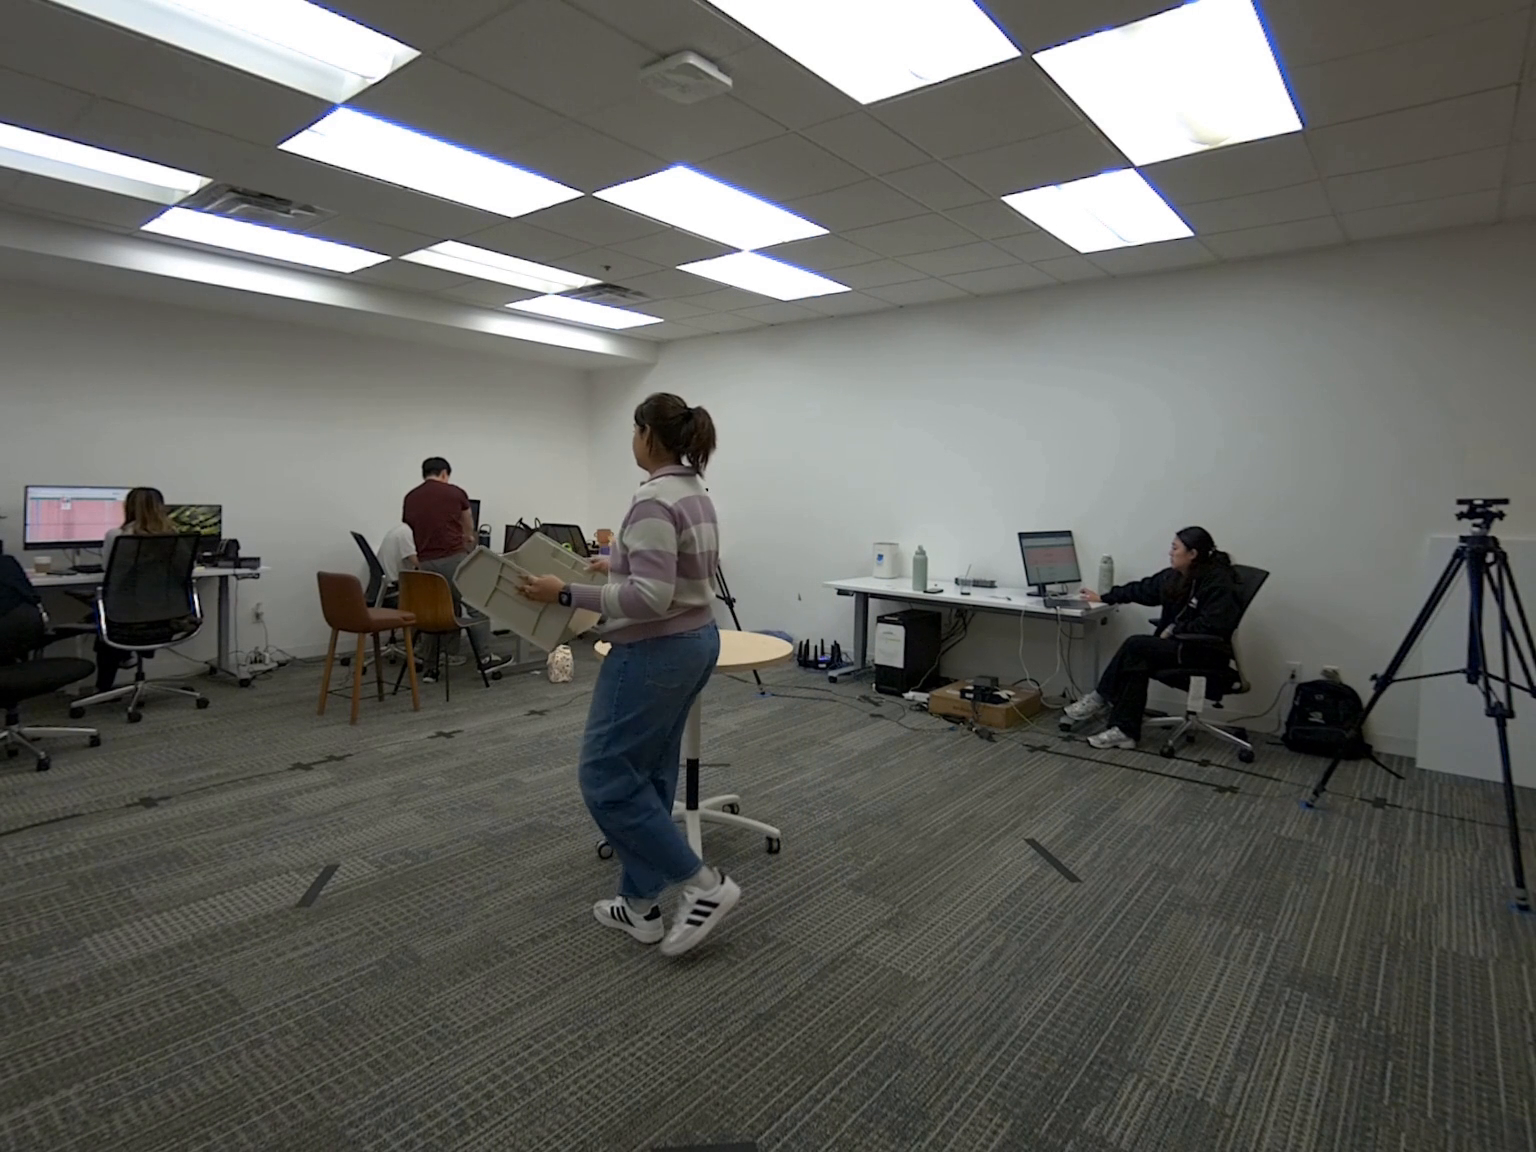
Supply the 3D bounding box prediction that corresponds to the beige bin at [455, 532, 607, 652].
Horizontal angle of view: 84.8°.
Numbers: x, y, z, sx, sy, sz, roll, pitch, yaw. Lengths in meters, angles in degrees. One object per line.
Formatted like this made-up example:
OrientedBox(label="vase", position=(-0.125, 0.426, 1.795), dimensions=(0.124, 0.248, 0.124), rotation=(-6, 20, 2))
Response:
OrientedBox(label="beige bin", position=(-0.725, 0.038, 2.663), dimensions=(0.380, 0.188, 0.421), rotation=(31, 11, 4))
